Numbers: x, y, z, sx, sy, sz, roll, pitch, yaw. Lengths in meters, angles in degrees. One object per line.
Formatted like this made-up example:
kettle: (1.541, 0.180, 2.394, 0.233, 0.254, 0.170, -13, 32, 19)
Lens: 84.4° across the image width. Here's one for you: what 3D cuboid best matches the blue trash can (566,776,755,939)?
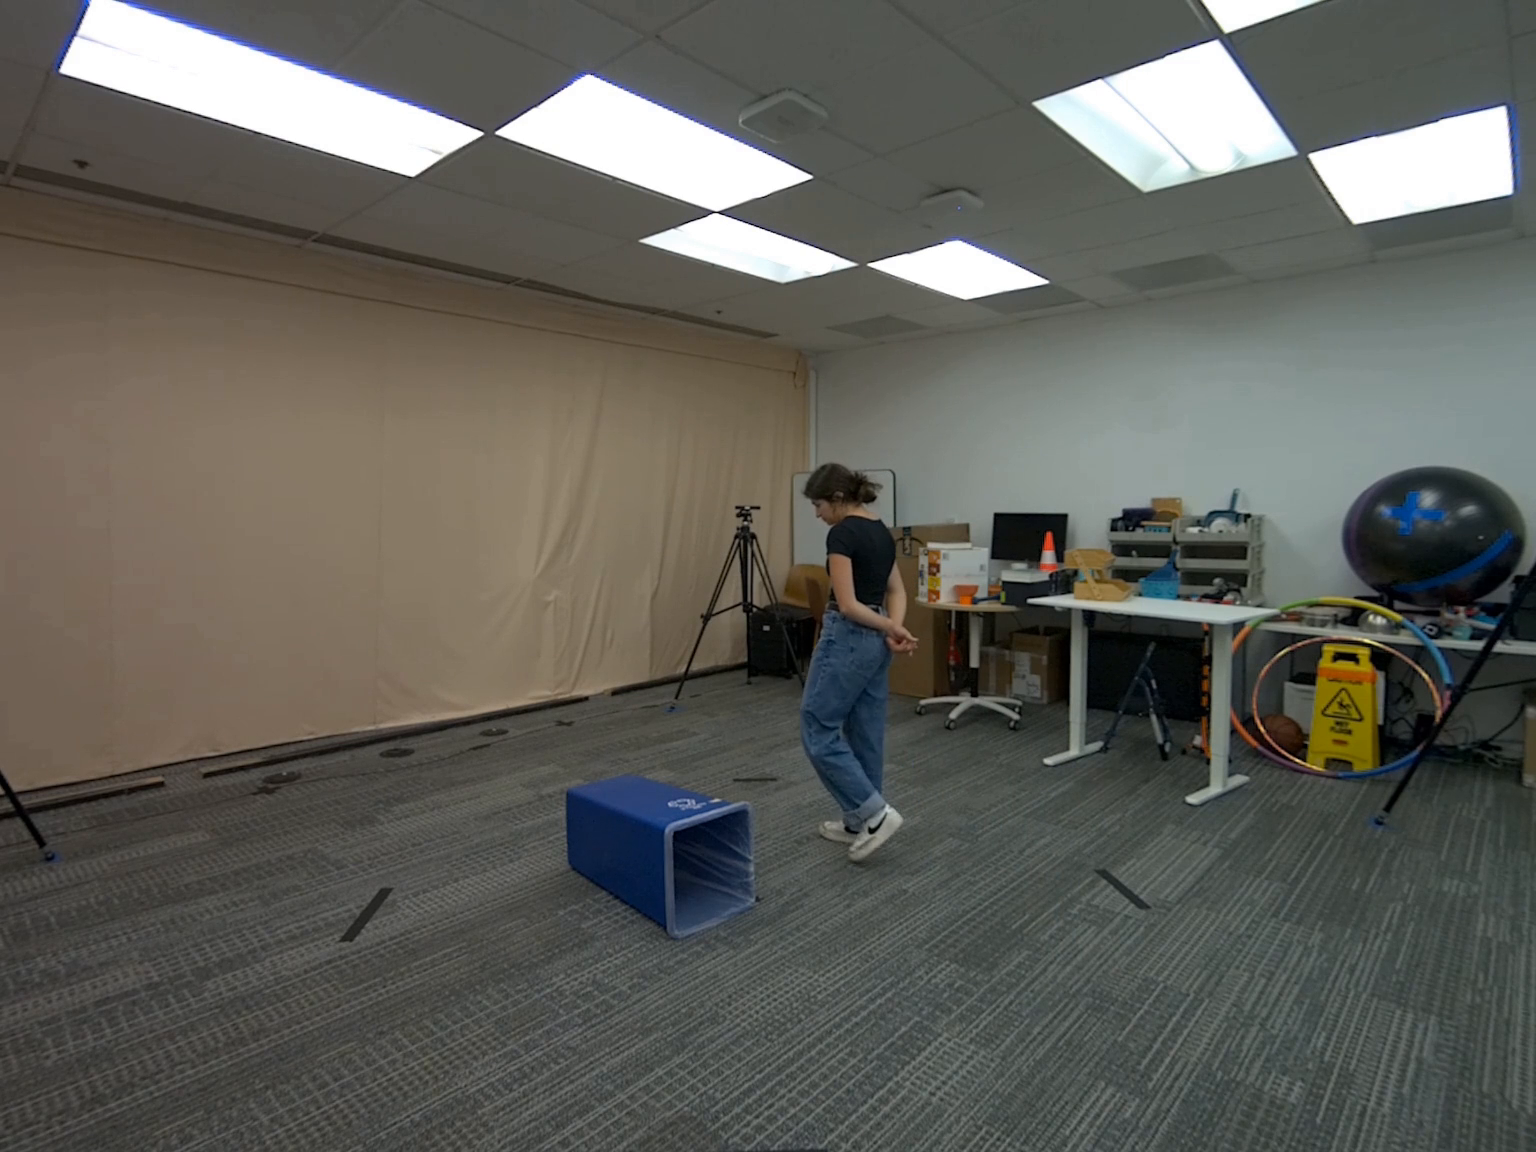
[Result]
blue trash can: (-0.425, 0.971, 3.073, 0.363, 0.378, 0.736, -4, 3, -43)
